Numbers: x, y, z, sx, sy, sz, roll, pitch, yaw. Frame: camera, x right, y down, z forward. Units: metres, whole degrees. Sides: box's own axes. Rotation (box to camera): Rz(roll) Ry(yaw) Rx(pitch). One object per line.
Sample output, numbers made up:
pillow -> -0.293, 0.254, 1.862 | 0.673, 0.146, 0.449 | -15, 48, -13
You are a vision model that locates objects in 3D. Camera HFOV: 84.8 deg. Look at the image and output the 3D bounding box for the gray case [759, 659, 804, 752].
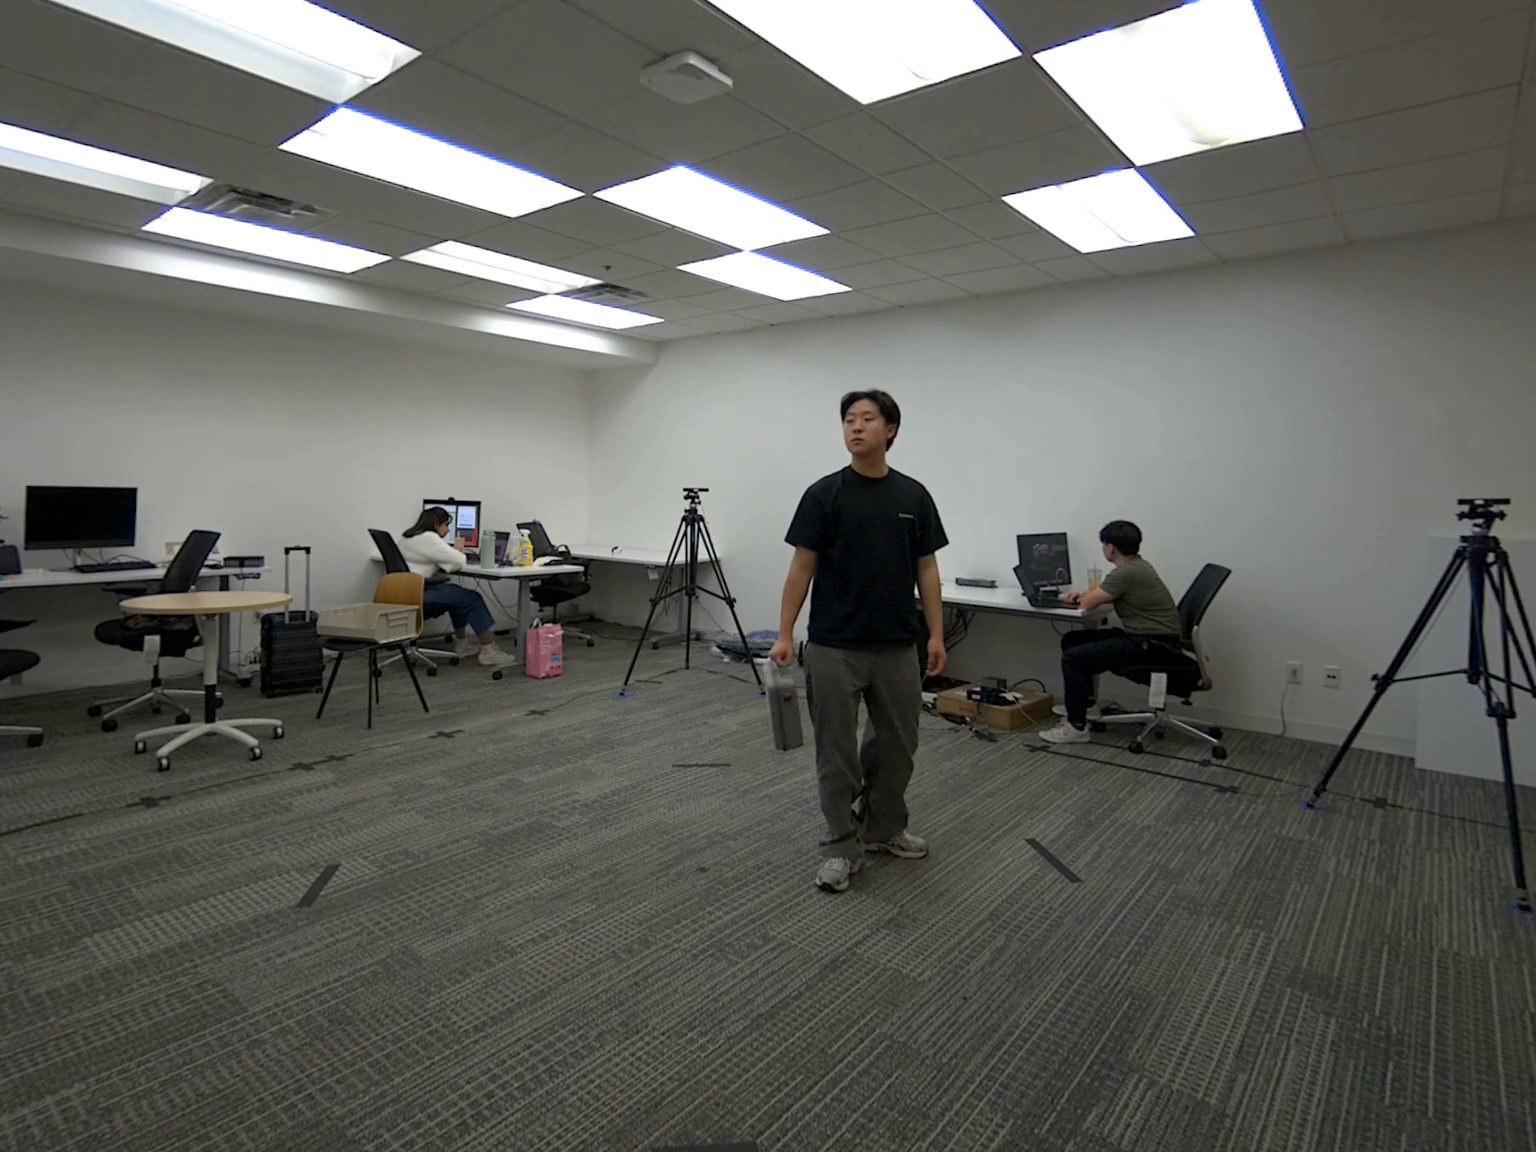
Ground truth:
gray case -> 0.045, 0.438, 3.018 | 0.103, 0.283, 0.268 | -8, 13, -5
